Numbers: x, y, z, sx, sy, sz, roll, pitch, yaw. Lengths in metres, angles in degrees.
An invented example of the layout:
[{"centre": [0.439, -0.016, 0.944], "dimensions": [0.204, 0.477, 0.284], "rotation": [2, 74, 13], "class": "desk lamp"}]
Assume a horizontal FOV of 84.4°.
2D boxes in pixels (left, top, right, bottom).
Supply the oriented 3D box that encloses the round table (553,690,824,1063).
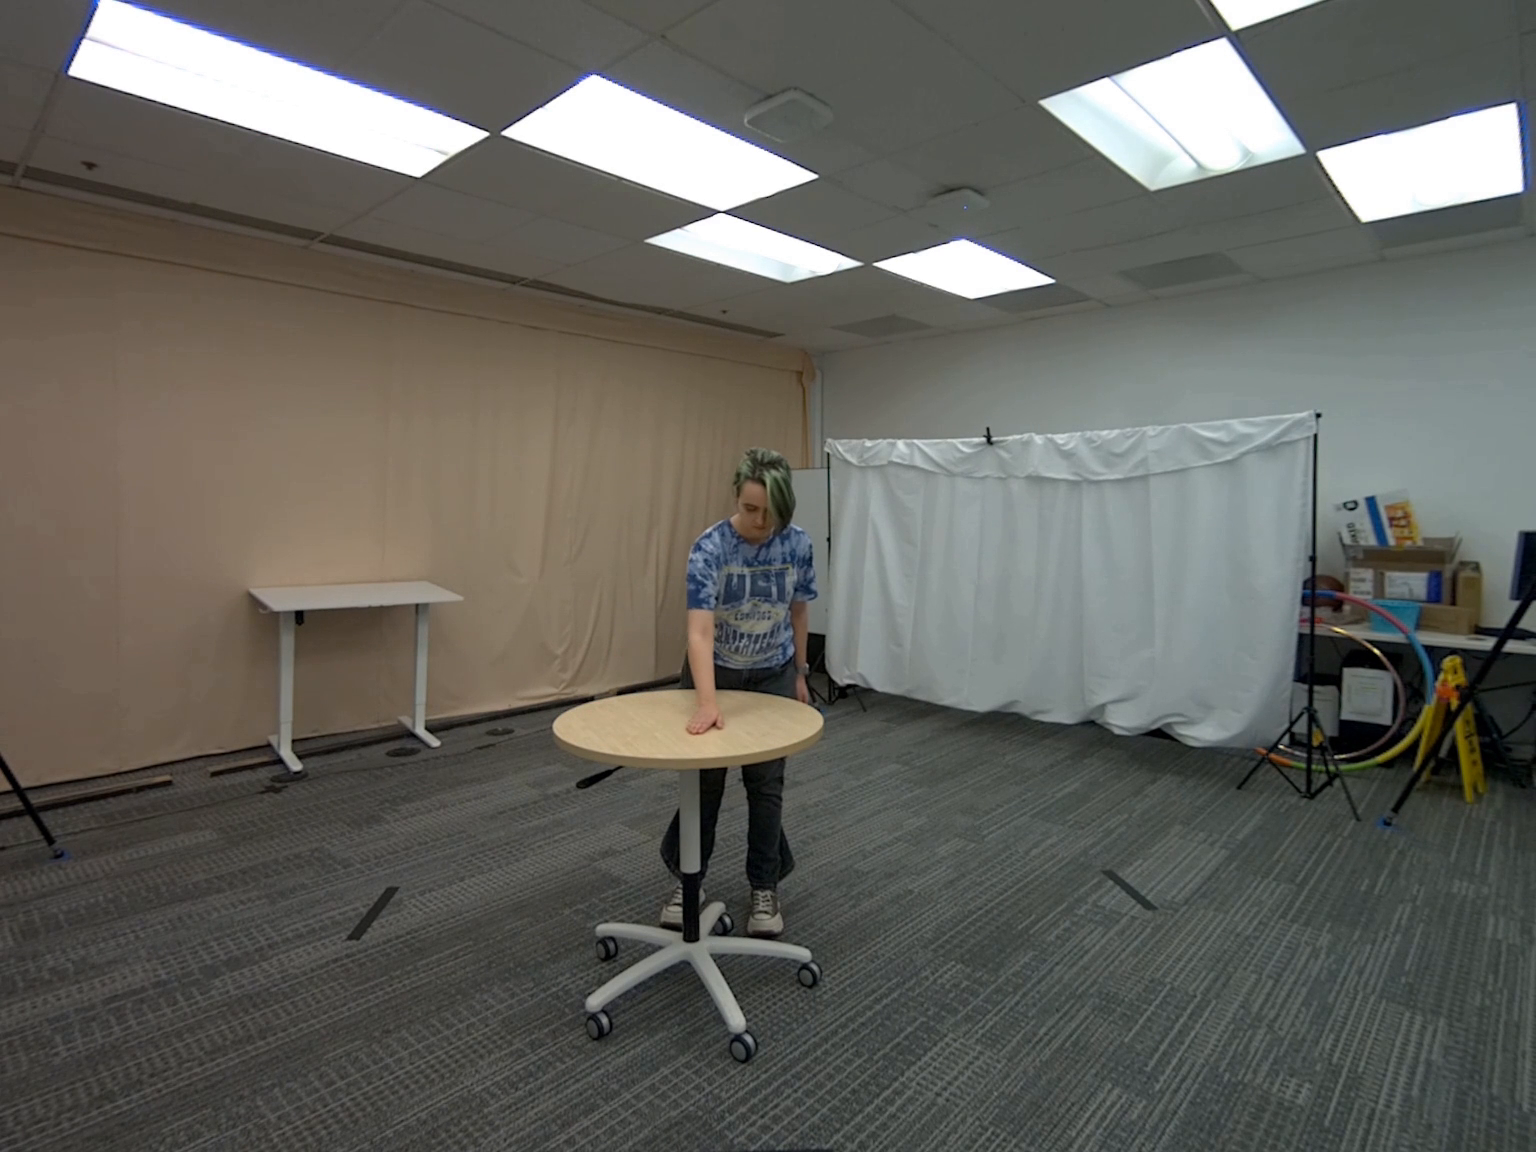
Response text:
[{"centre": [-0.231, 0.796, 2.434], "dimensions": [0.784, 0.785, 0.788], "rotation": [0, 4, -2], "class": "round table"}]
